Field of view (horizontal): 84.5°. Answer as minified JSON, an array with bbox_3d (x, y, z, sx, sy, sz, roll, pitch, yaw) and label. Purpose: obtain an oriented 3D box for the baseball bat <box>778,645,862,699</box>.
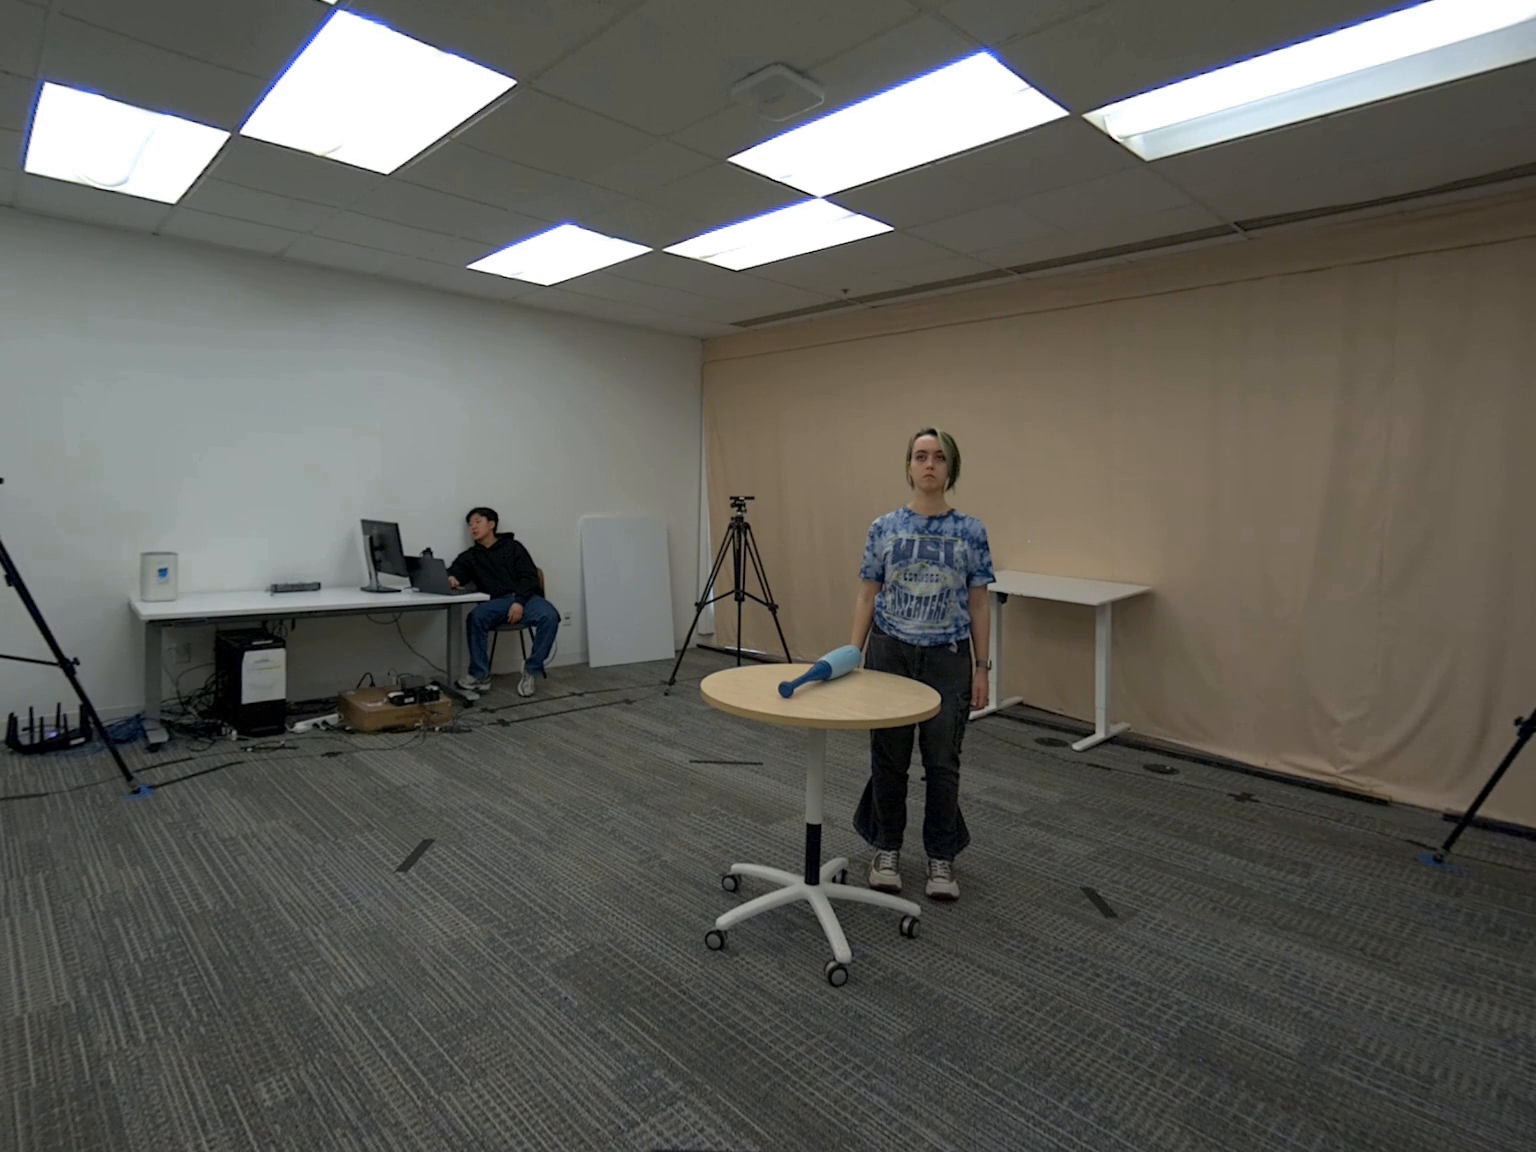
[{"bbox_3d":[0.170,0.321,2.782,0.091,0.088,0.535,3,9,26],"label":"baseball bat"}]
